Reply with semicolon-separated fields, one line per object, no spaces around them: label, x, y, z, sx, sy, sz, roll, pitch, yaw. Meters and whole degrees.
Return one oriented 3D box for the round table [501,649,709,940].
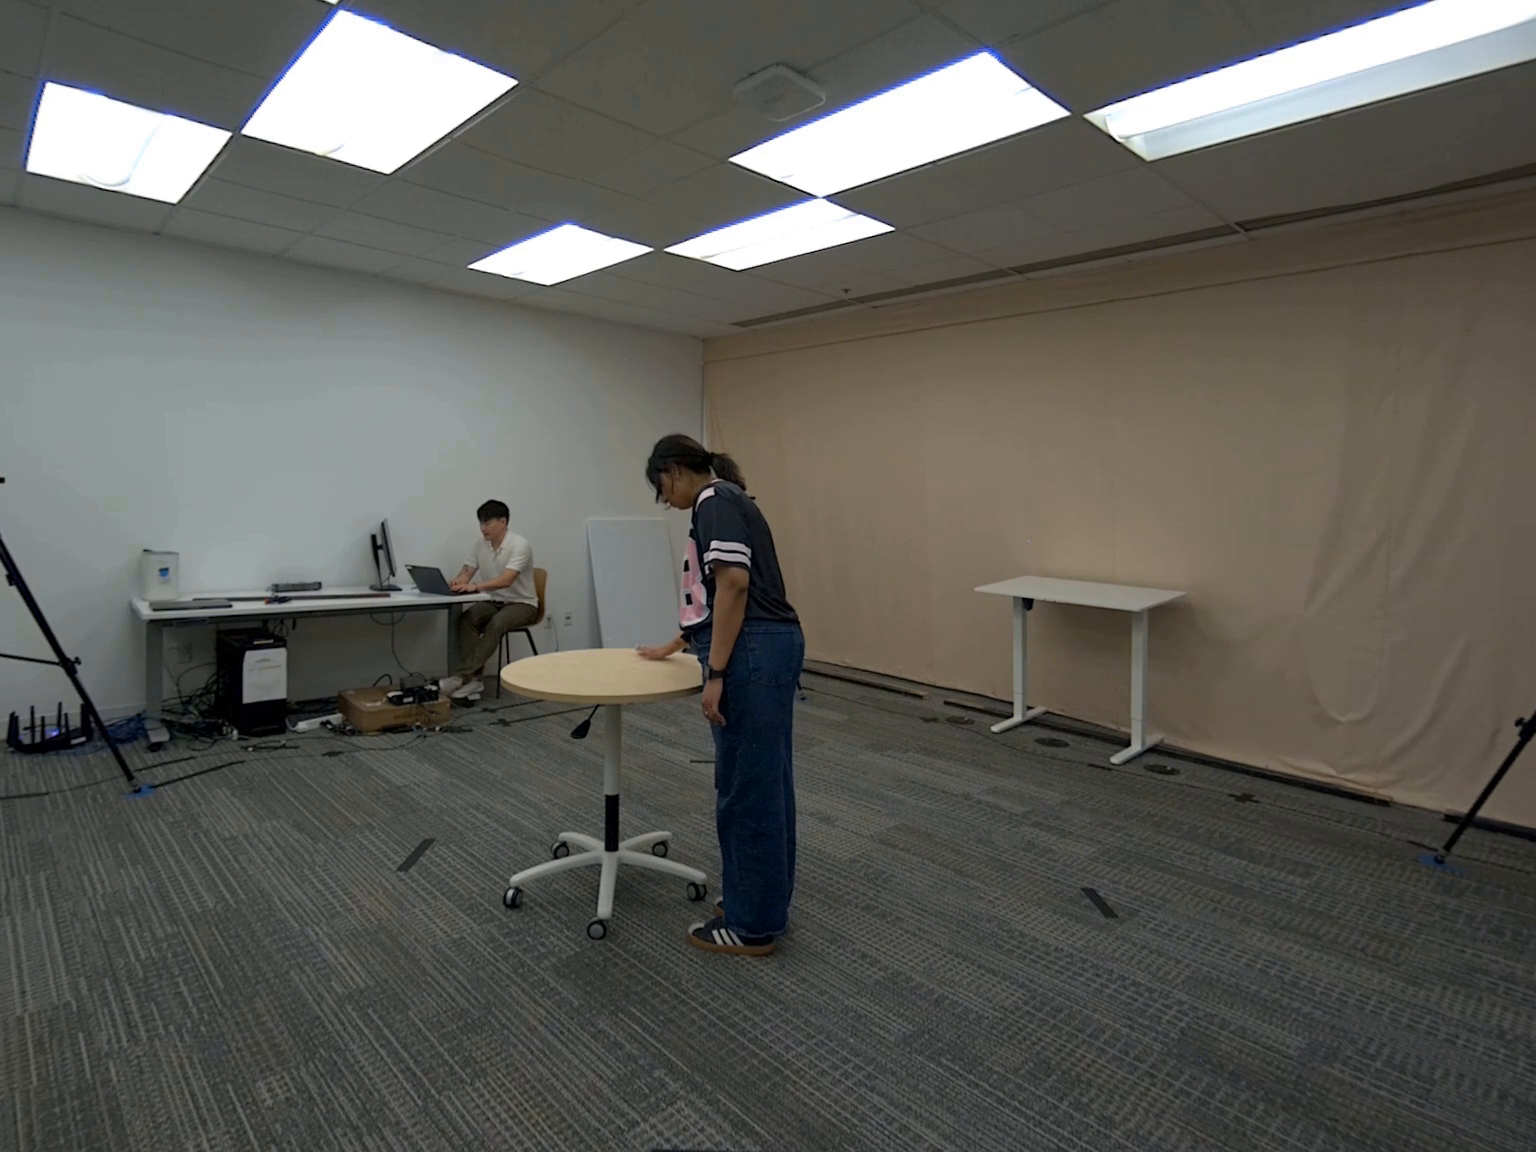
round table;-0.562;0.719;2.949;0.784;0.784;0.788;1;4;-1
